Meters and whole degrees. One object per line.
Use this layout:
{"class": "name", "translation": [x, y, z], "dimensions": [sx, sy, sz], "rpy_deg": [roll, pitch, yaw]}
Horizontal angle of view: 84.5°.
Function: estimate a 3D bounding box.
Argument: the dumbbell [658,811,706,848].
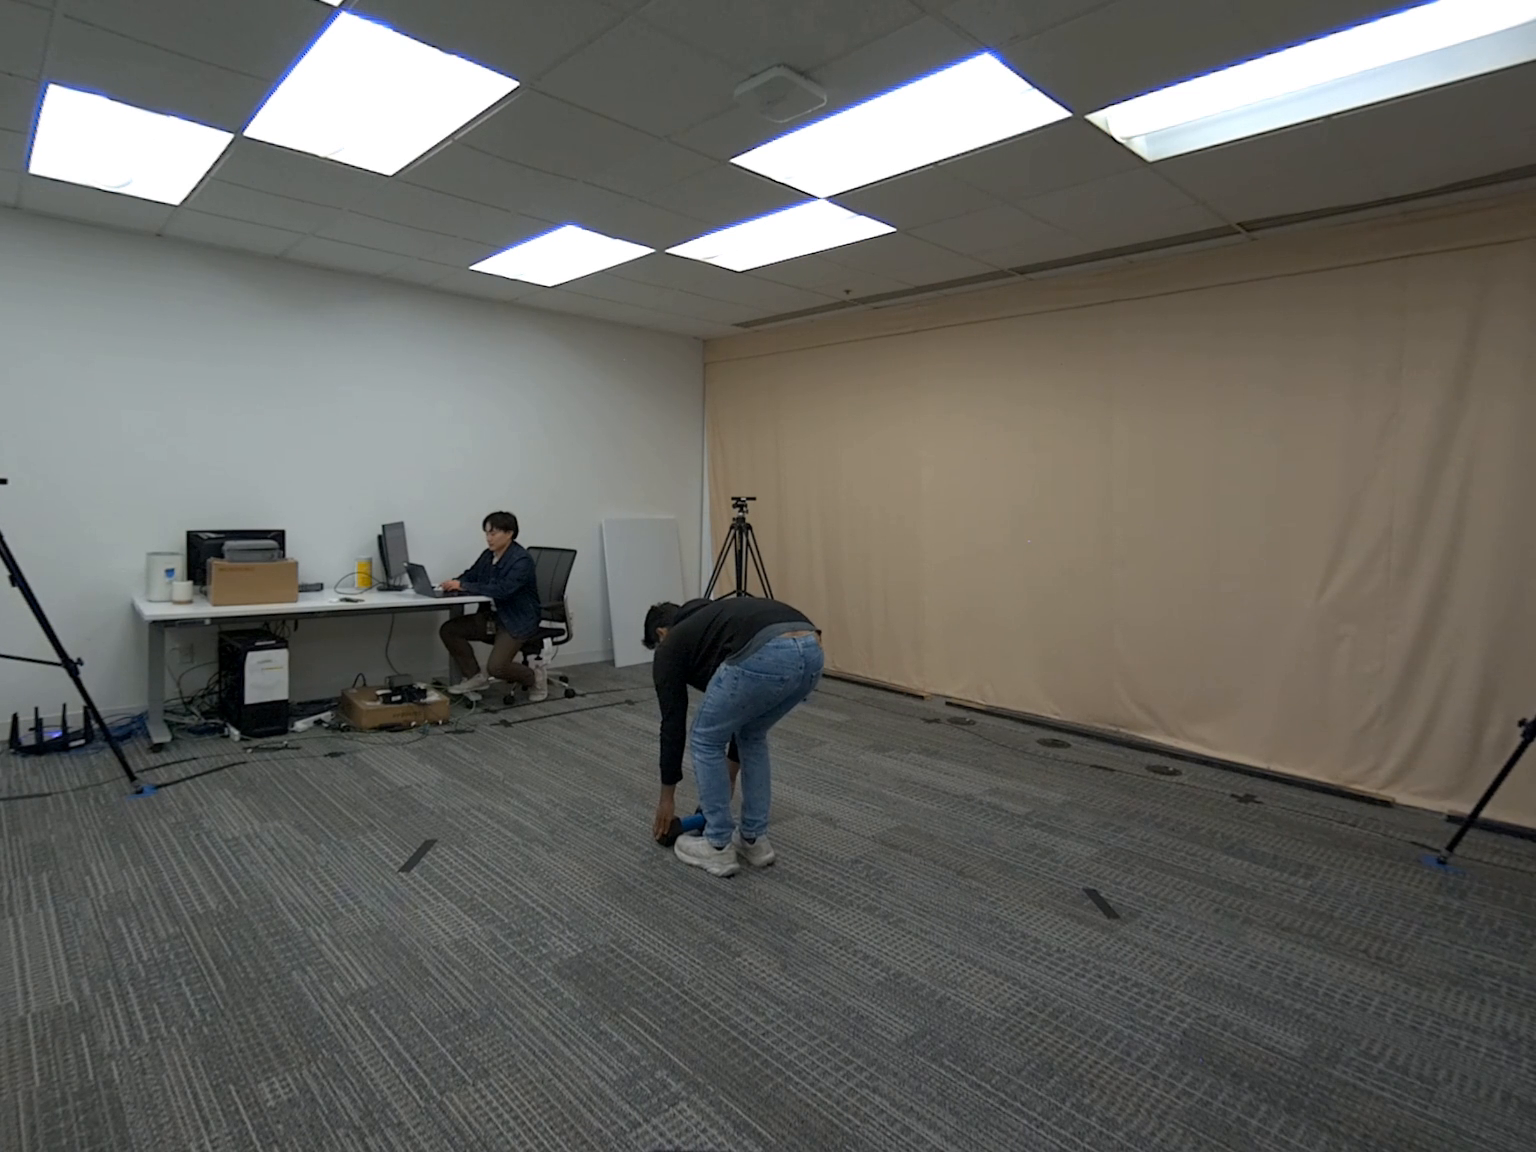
{"class": "dumbbell", "translation": [-0.331, 1.020, 3.459], "dimensions": [0.287, 0.108, 0.126], "rpy_deg": [-4, 7, -42]}
